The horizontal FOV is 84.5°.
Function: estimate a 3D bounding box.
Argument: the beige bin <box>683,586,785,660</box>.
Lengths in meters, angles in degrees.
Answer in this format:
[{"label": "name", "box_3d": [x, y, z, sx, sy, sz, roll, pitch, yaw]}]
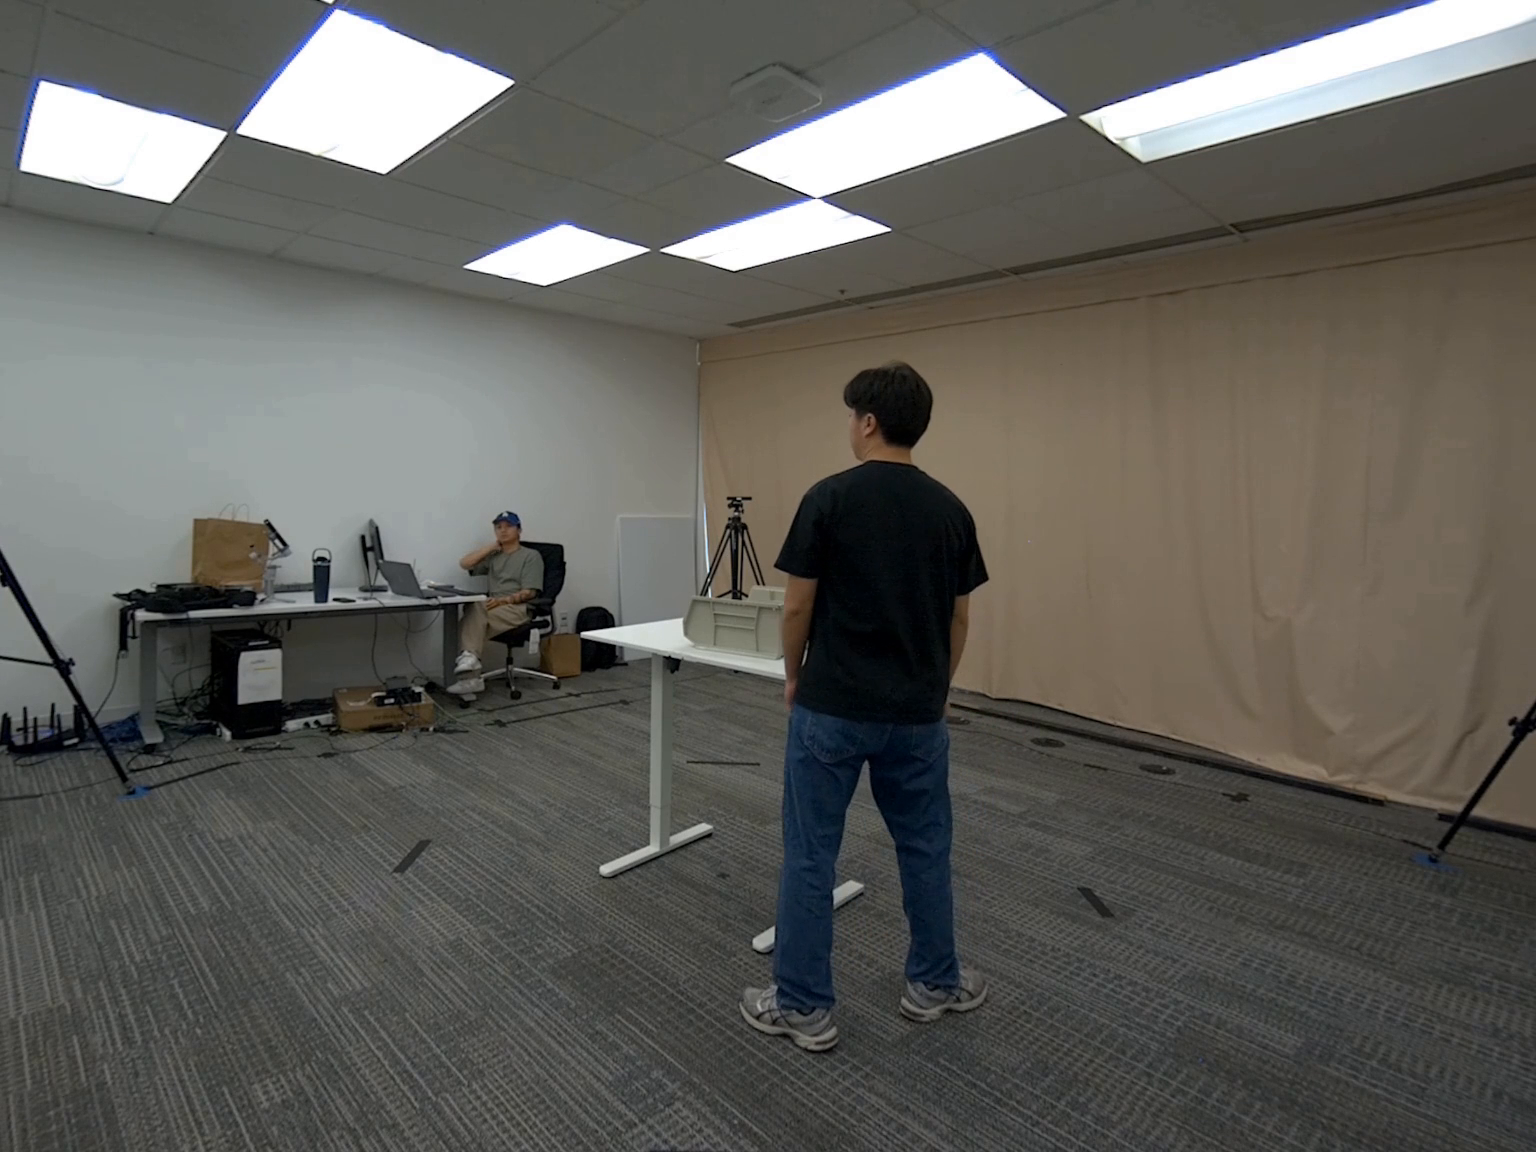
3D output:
[{"label": "beige bin", "box_3d": [-0.029, 0.157, 2.931, 0.386, 0.188, 0.414, 6, 6, 30]}]
